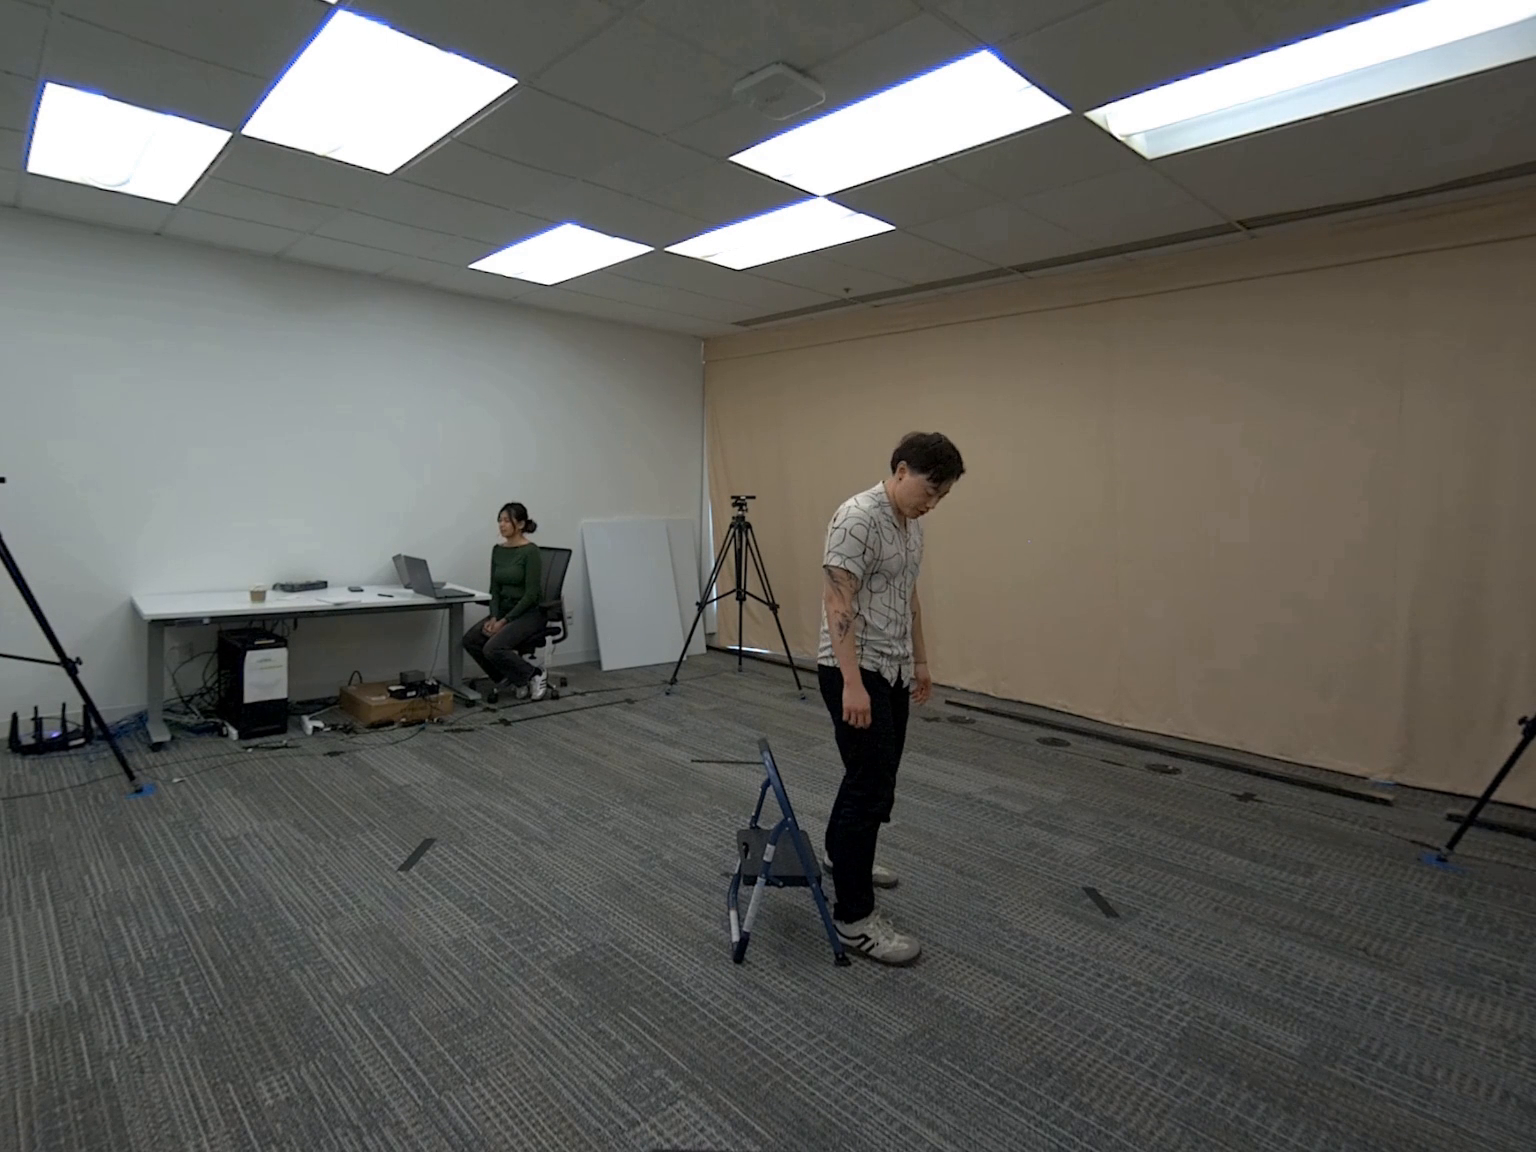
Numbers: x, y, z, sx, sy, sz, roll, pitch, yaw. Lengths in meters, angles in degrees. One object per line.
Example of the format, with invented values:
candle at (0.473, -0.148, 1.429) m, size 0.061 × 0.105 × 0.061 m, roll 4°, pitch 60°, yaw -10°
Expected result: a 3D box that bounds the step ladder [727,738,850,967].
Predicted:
step ladder at (0.044, 0.845, 2.696) m, size 0.348 × 0.604 × 0.433 m, roll 1°, pitch 4°, yaw -5°
